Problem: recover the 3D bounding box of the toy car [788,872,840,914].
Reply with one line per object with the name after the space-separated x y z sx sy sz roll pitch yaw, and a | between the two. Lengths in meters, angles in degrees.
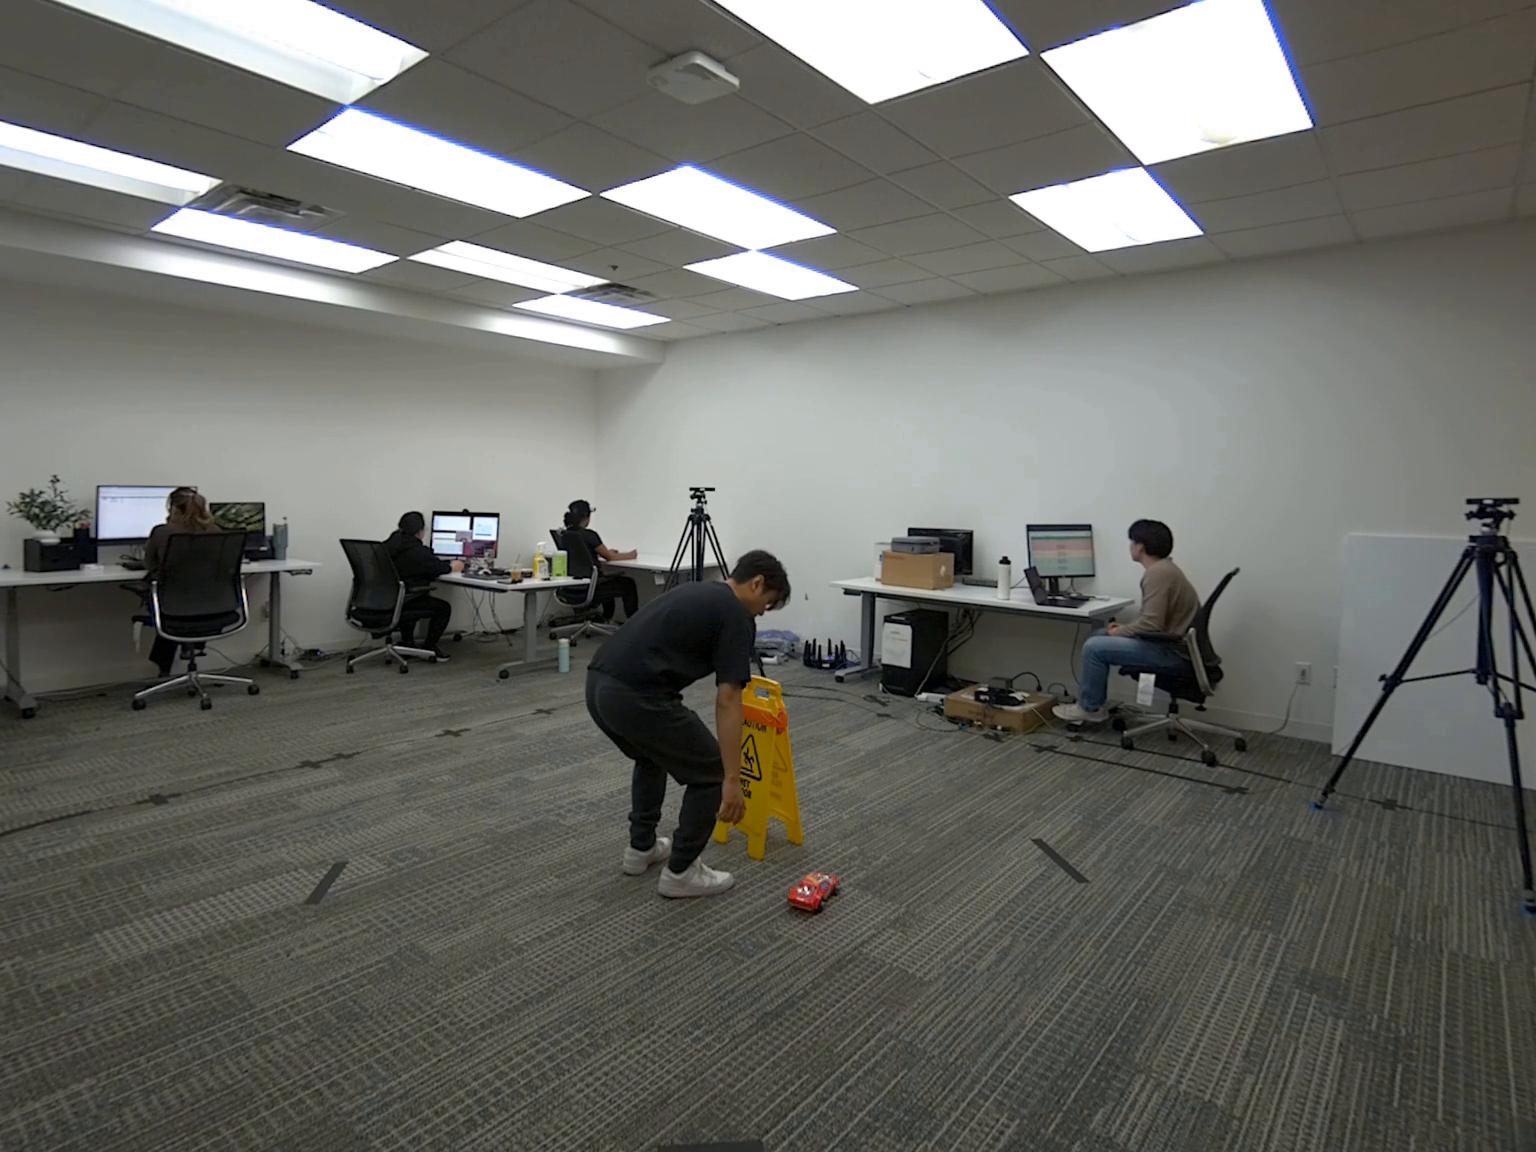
0.147 1.070 2.878 0.134 0.083 0.246 5 -4 27 | toy car
